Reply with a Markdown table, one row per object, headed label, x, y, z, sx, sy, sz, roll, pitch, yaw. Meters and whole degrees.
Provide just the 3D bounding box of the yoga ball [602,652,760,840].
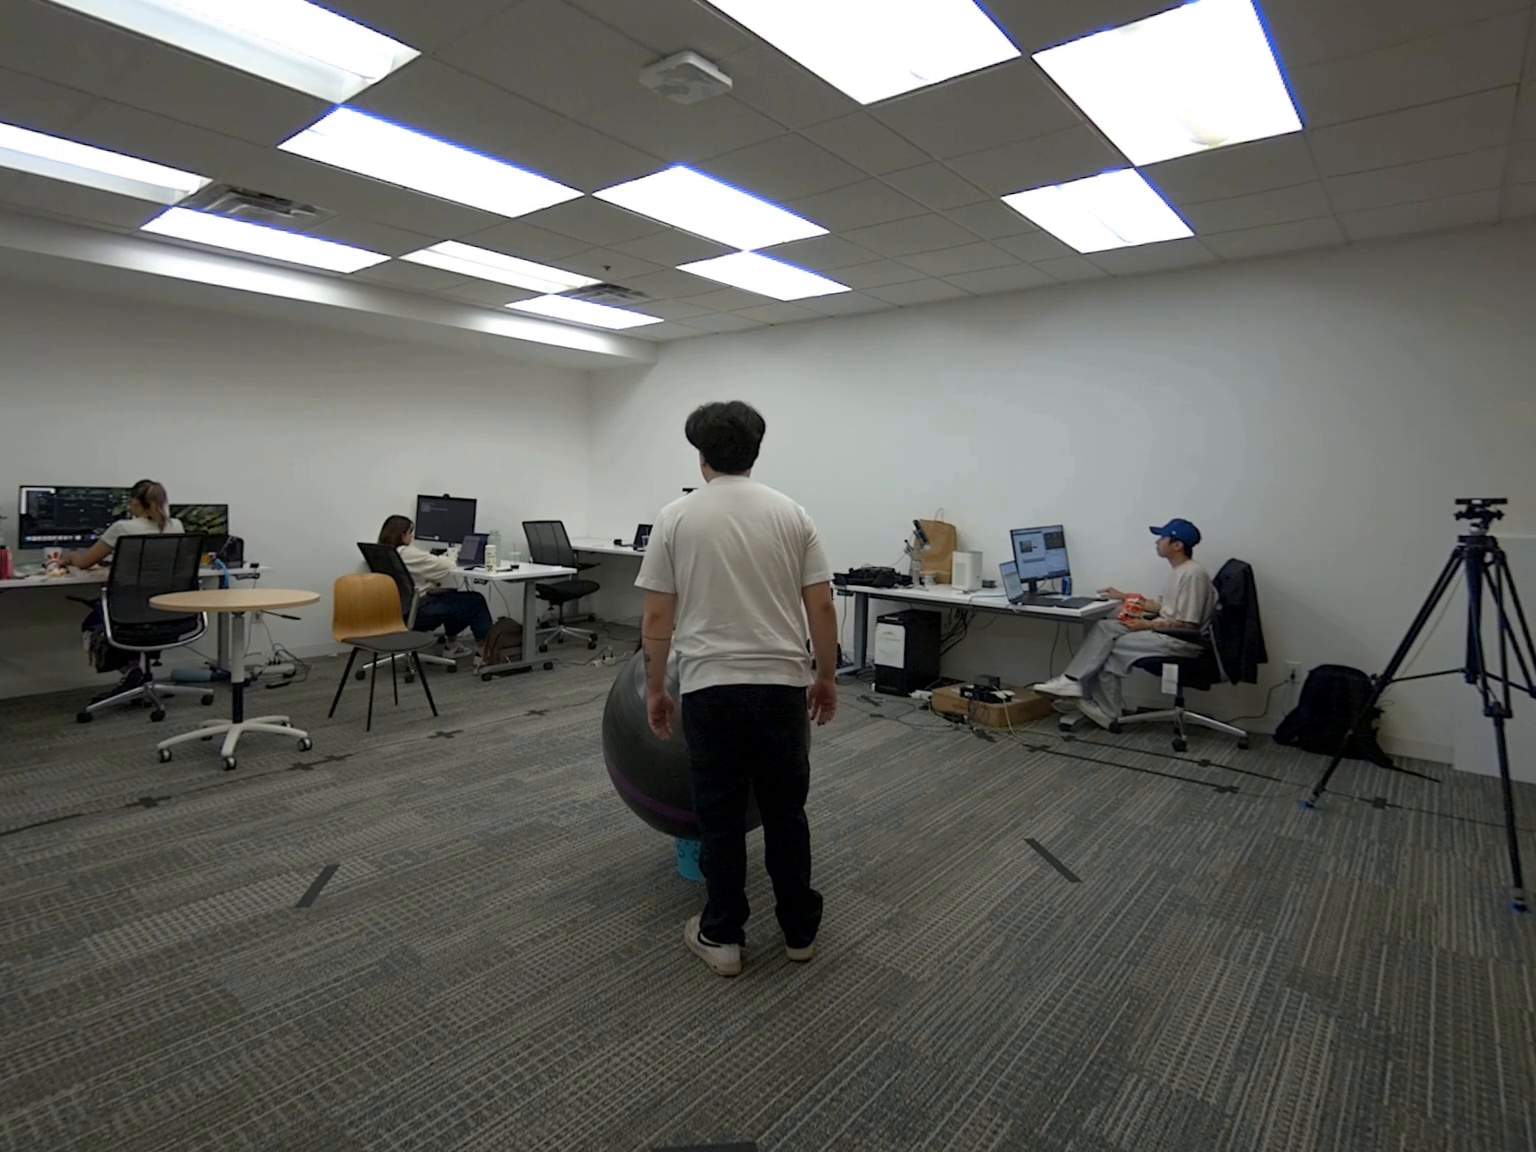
| label | x | y | z | sx | sy | sz | roll | pitch | yaw |
| --- | --- | --- | --- | --- | --- | --- | --- | --- | --- |
| yoga ball | -0.229 | 0.560 | 3.089 | 0.757 | 0.756 | 0.761 | 1 | 4 | -2 |
